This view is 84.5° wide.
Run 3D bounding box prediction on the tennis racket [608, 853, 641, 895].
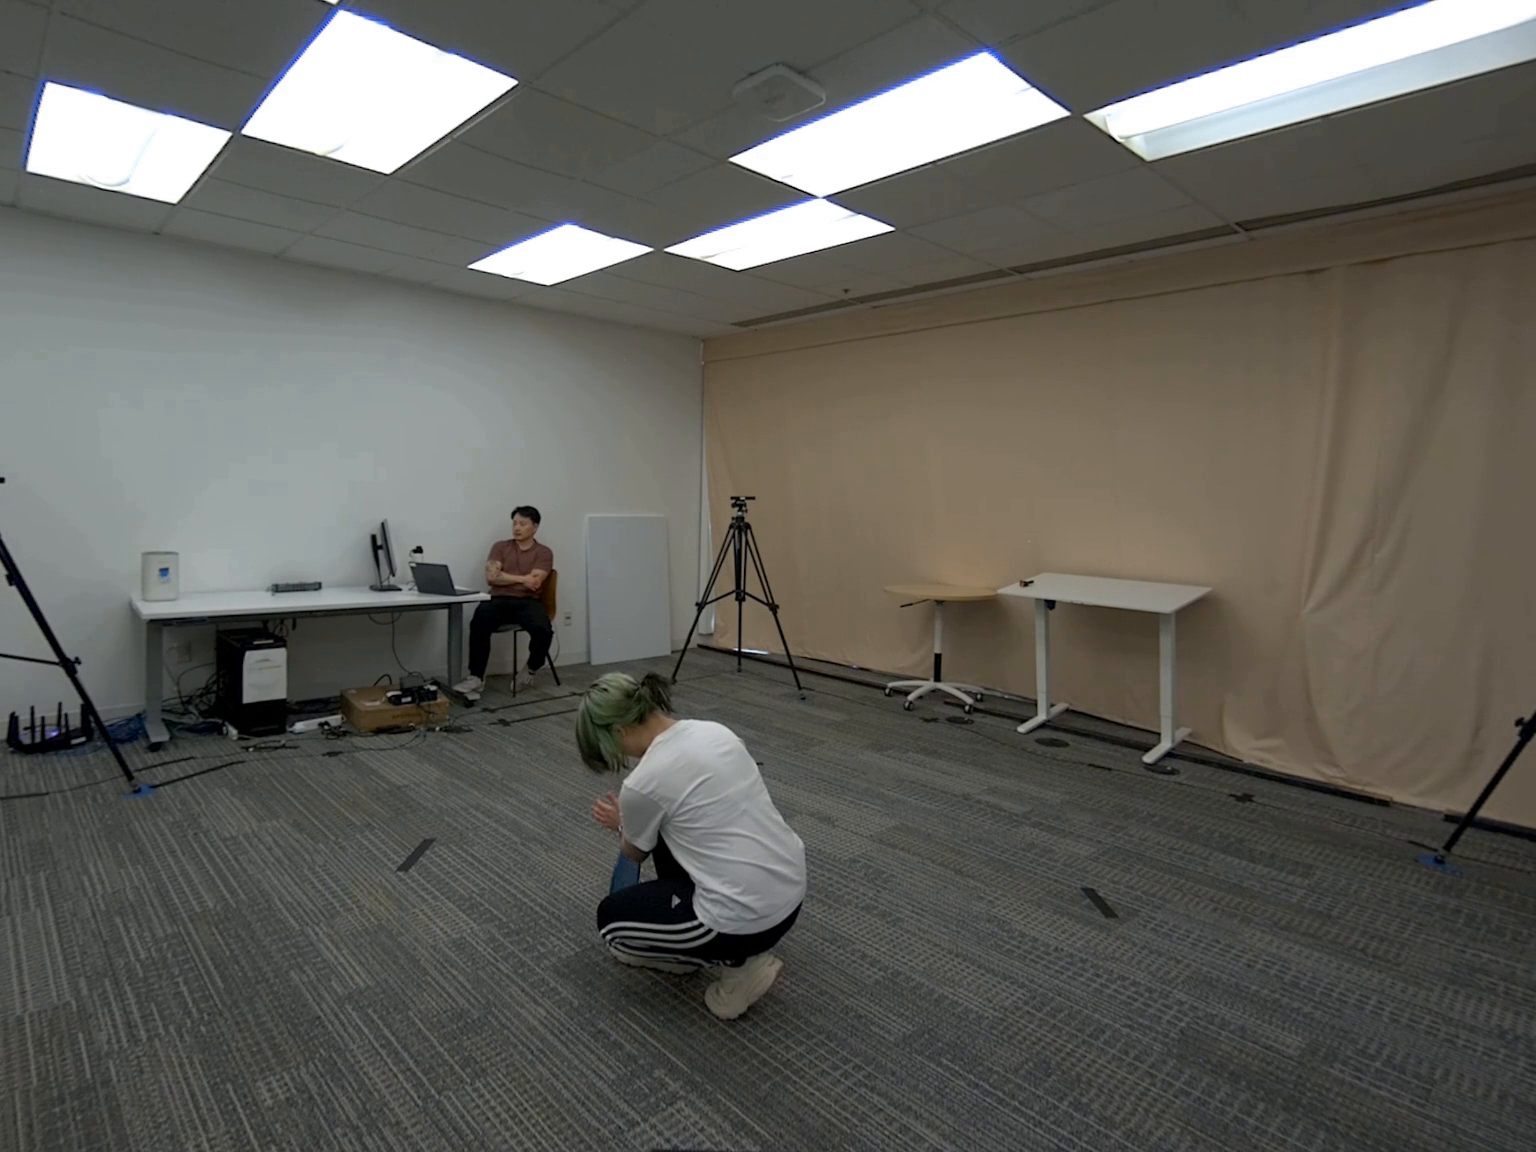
[{"bbox_3d":[-0.472,0.924,2.733,0.032,0.431,0.211,5,6,16],"label":"tennis racket"}]
